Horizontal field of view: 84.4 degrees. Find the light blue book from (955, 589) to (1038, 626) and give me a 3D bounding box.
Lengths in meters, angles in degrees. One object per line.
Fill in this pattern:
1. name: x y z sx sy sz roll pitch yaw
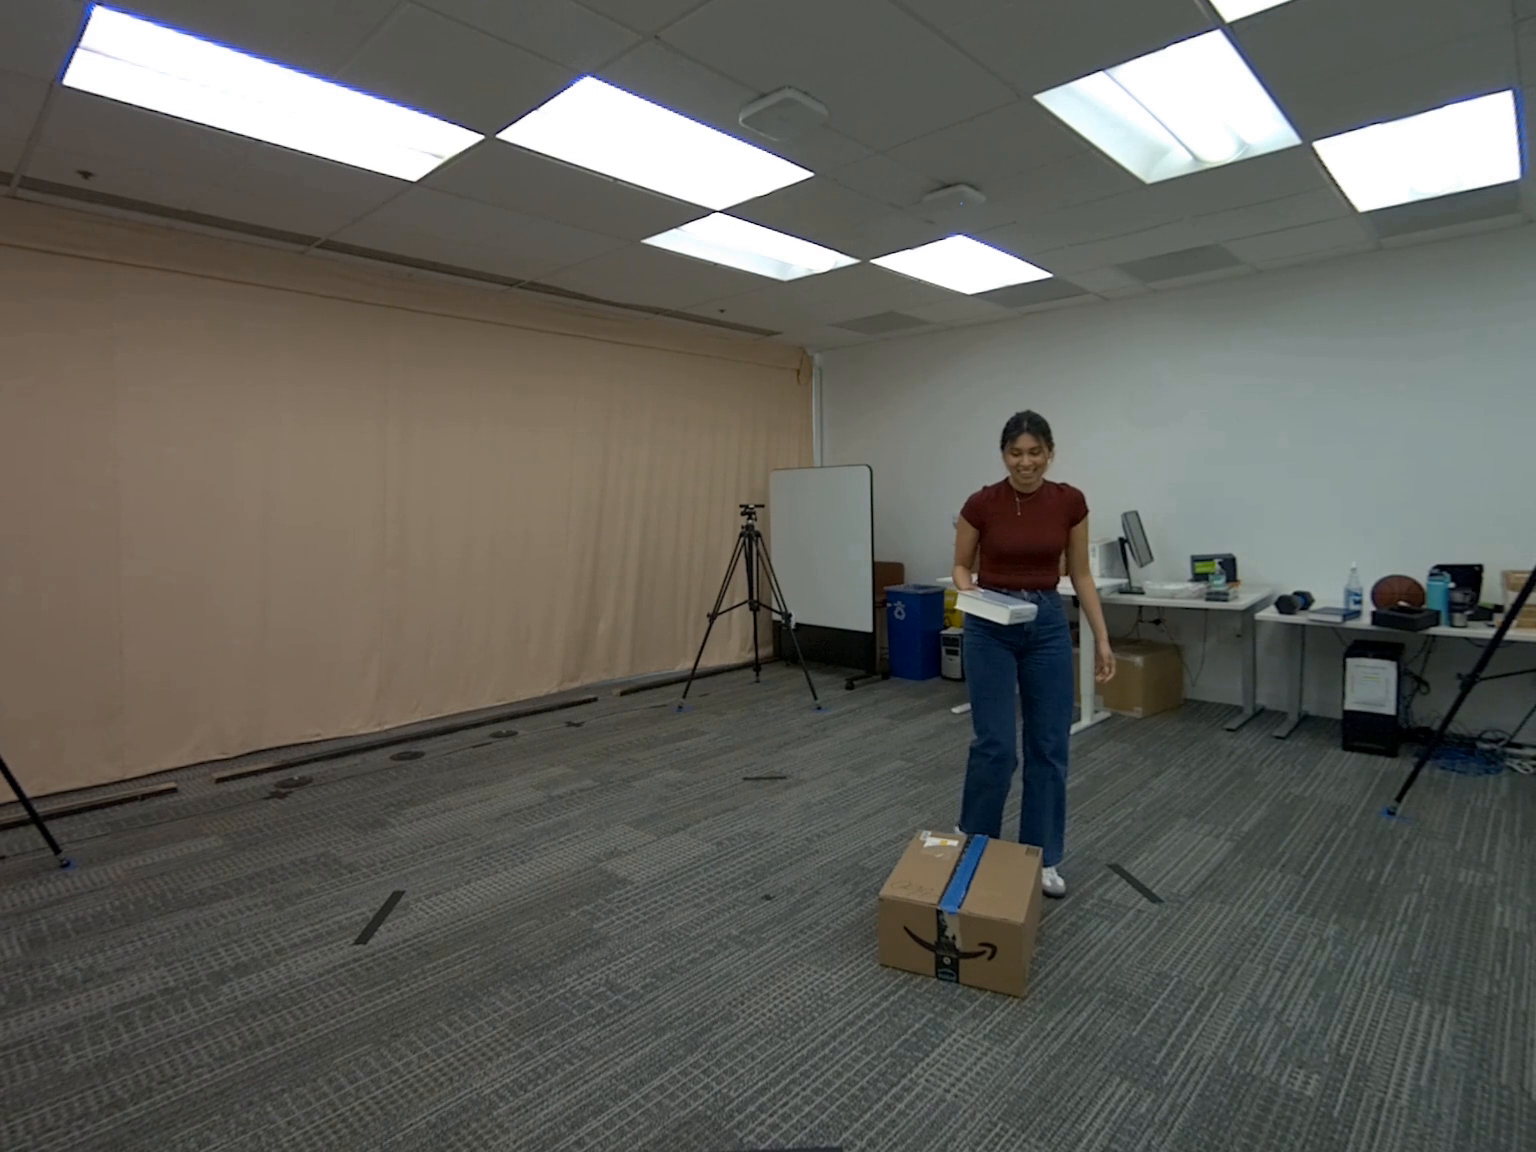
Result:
1. light blue book: 0.774 0.104 2.835 0.198 0.059 0.253 19 11 33
